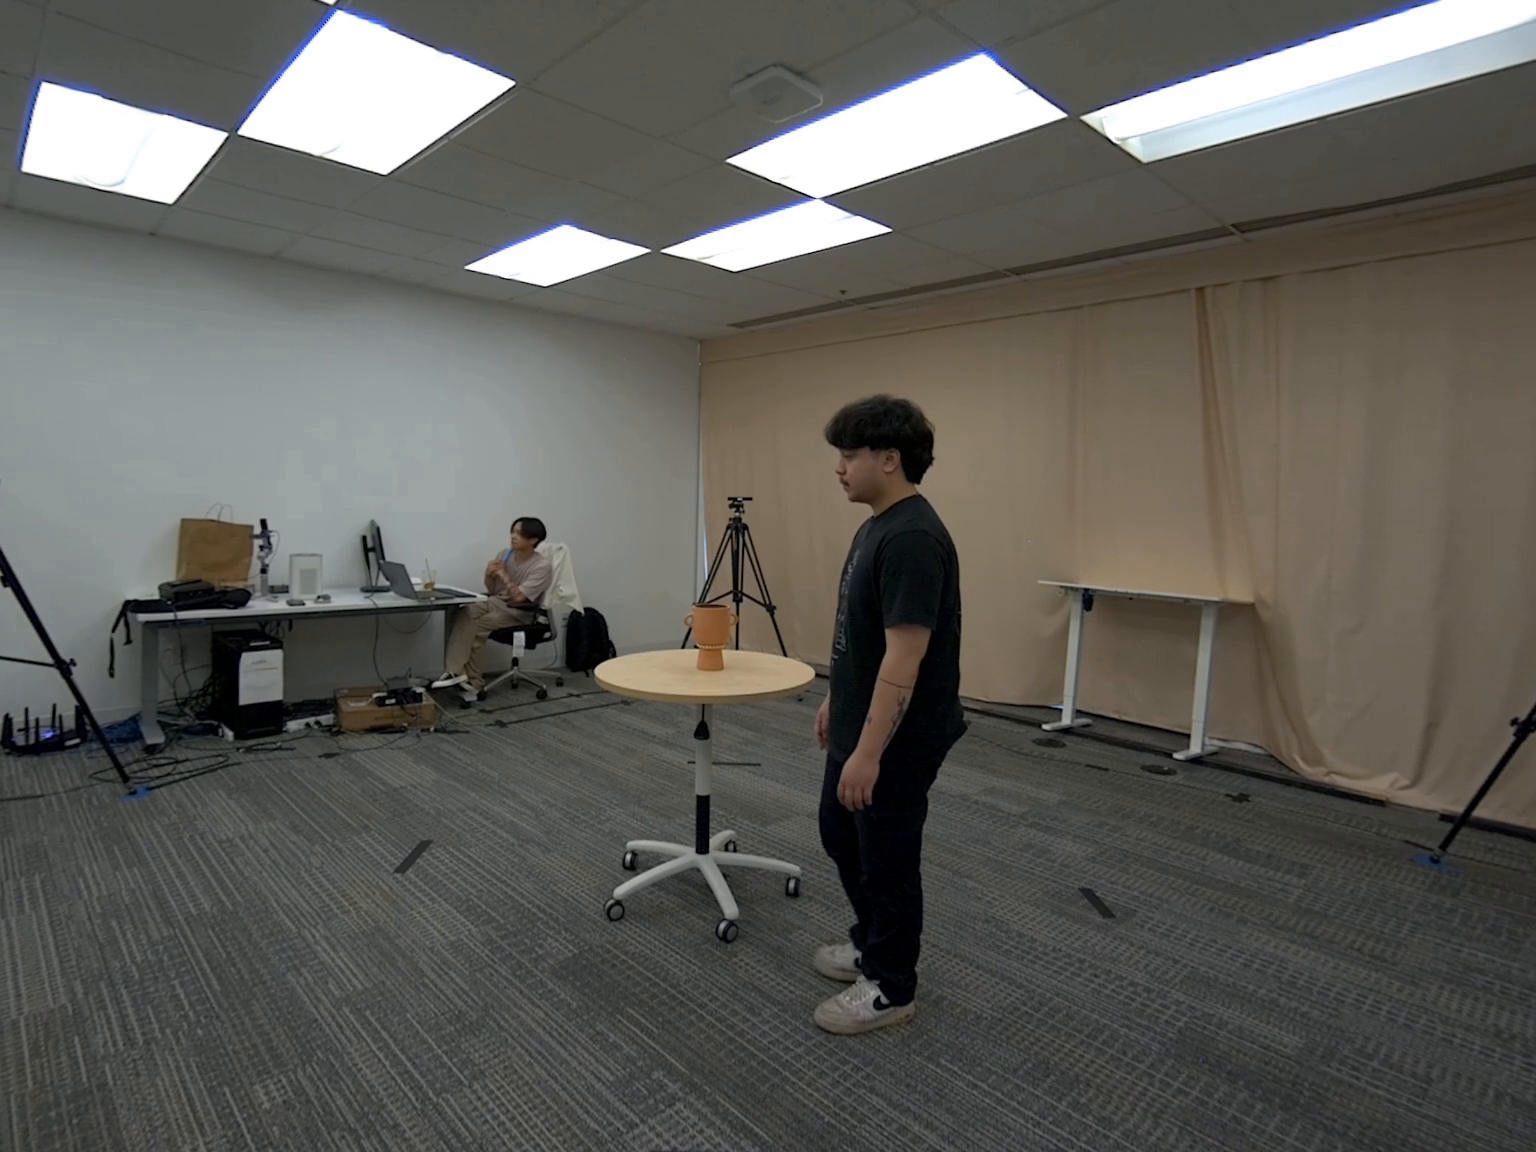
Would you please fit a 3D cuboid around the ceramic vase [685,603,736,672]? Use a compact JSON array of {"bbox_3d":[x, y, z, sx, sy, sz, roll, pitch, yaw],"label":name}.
[{"bbox_3d":[-0.208,0.217,2.950,0.161,0.219,0.133,2,4,19],"label":"ceramic vase"}]
